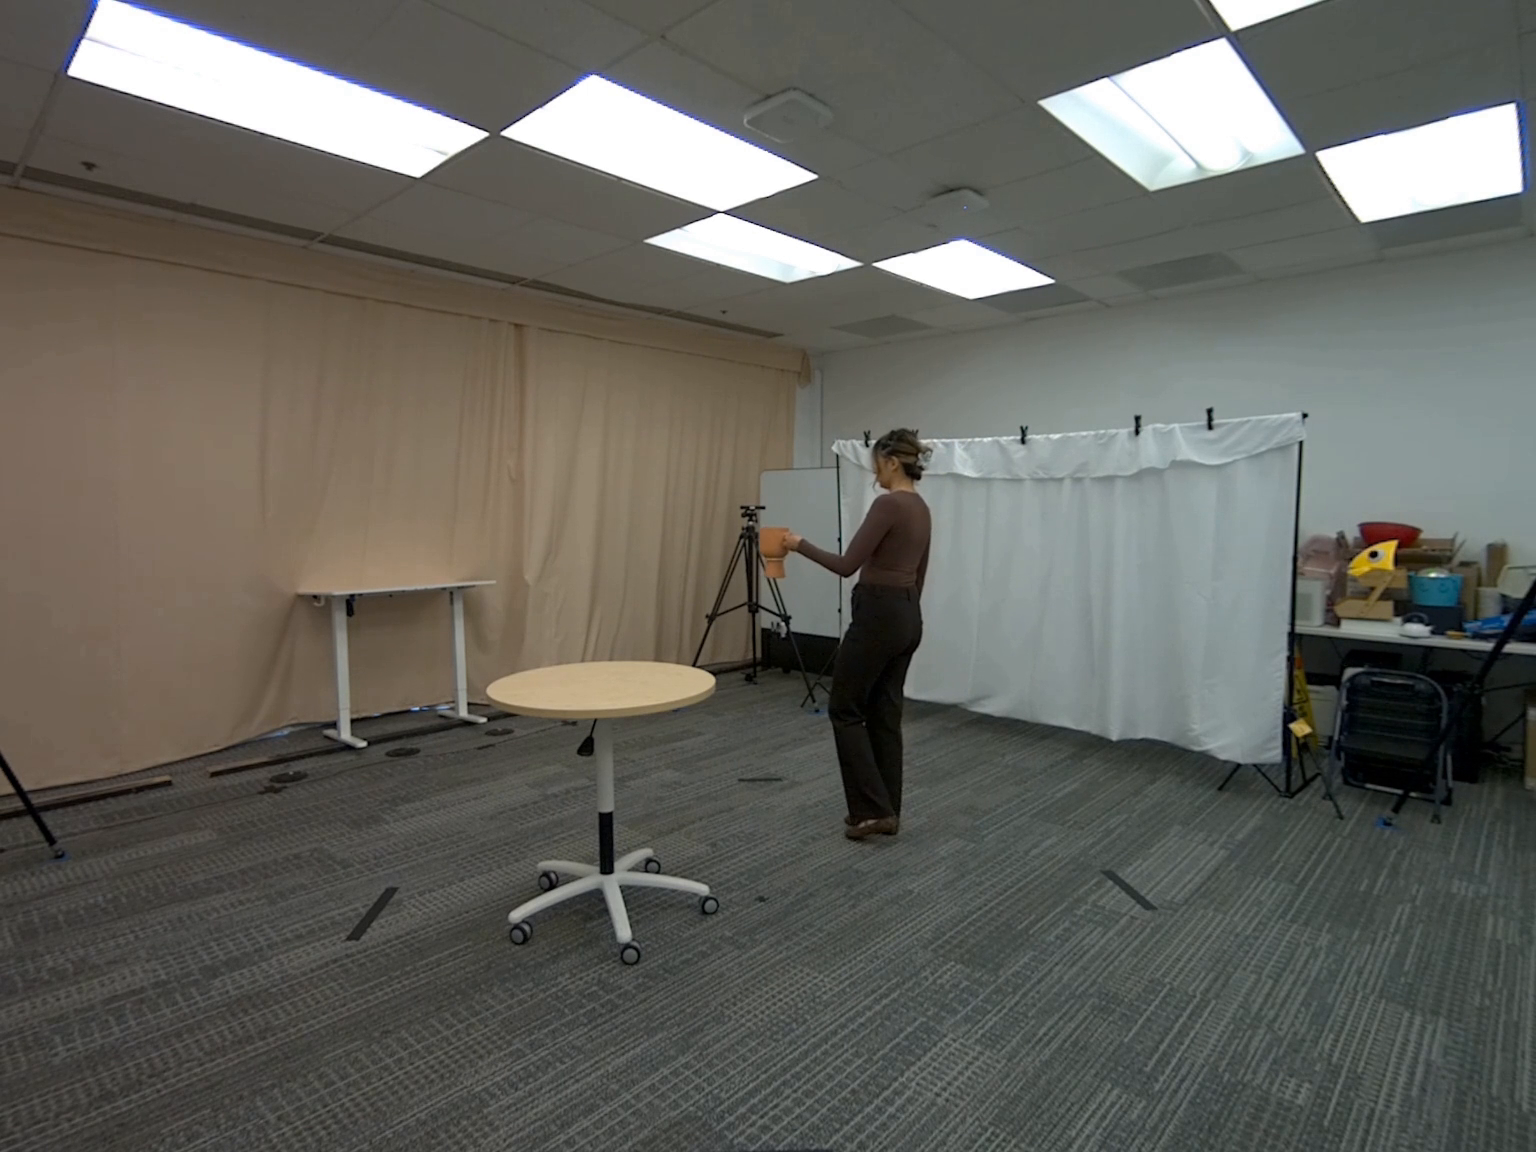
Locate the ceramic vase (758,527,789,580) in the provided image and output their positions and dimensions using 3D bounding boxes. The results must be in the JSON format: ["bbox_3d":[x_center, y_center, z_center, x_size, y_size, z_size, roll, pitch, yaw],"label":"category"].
[{"bbox_3d":[0.035,-0.103,3.726,0.134,0.219,0.159,0,3,-3],"label":"ceramic vase"}]
